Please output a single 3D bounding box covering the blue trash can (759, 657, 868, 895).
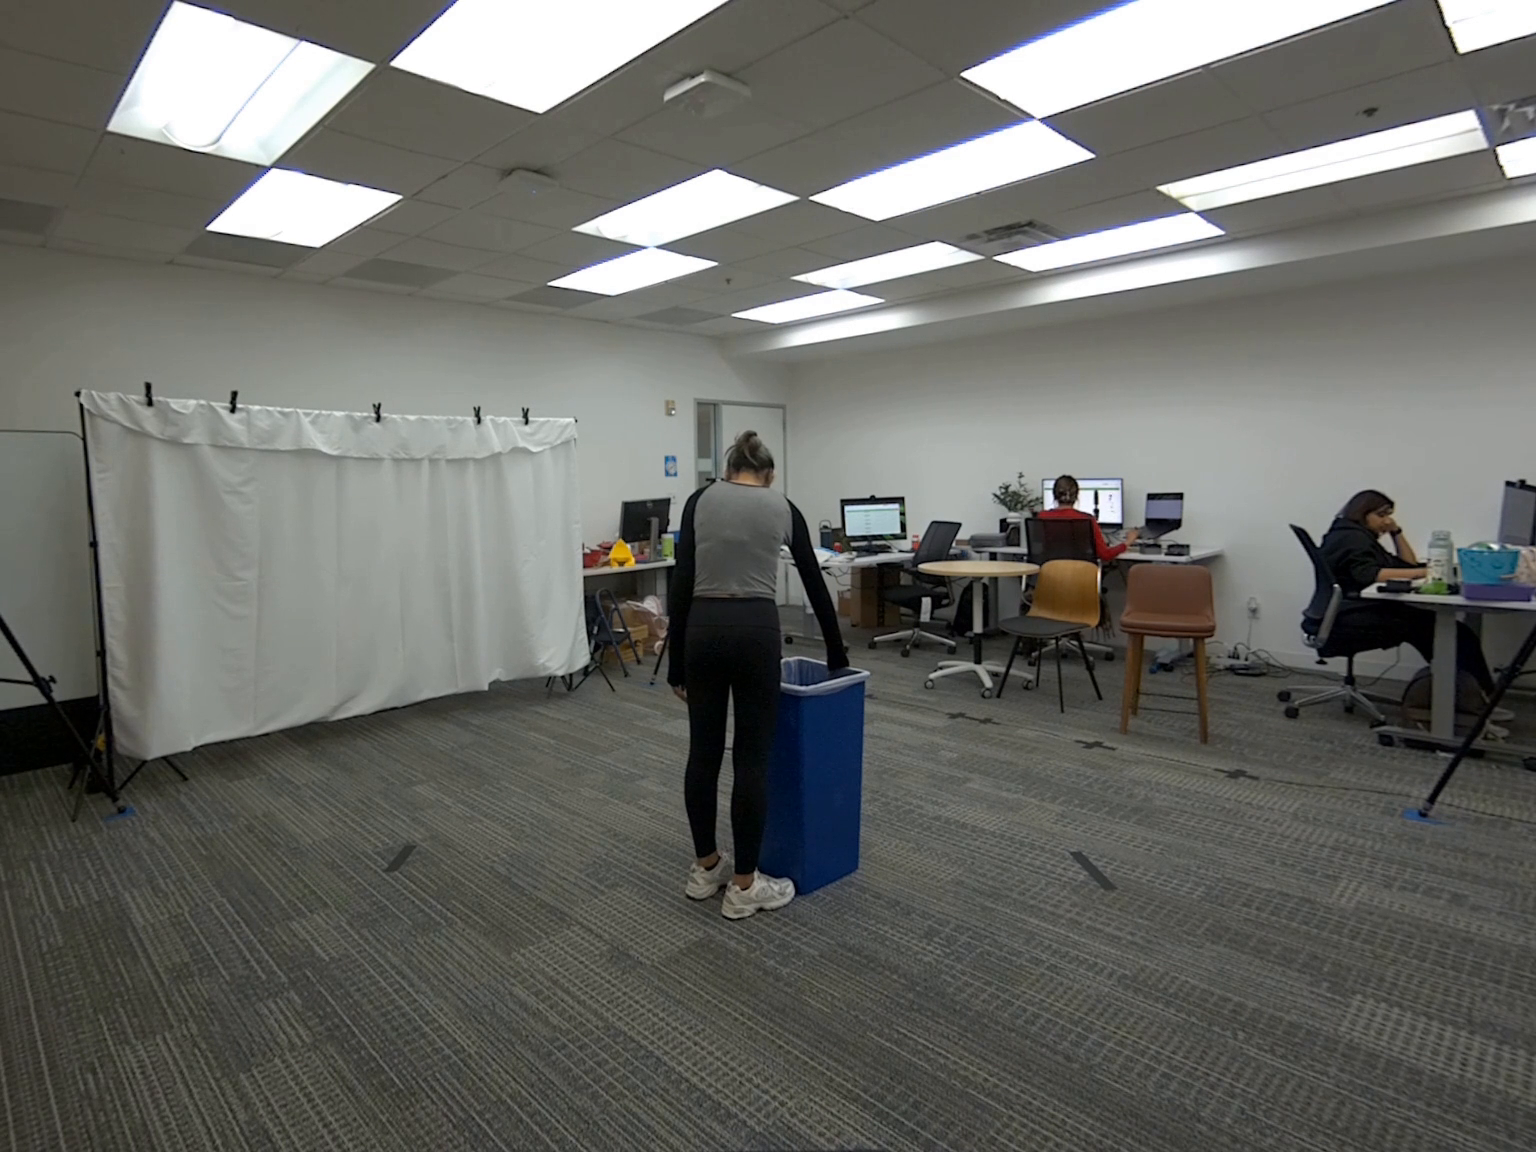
[{"bbox_3d":[0.124,0.691,3.031,0.368,0.711,0.385,-5,5,-44],"label":"blue trash can"}]
